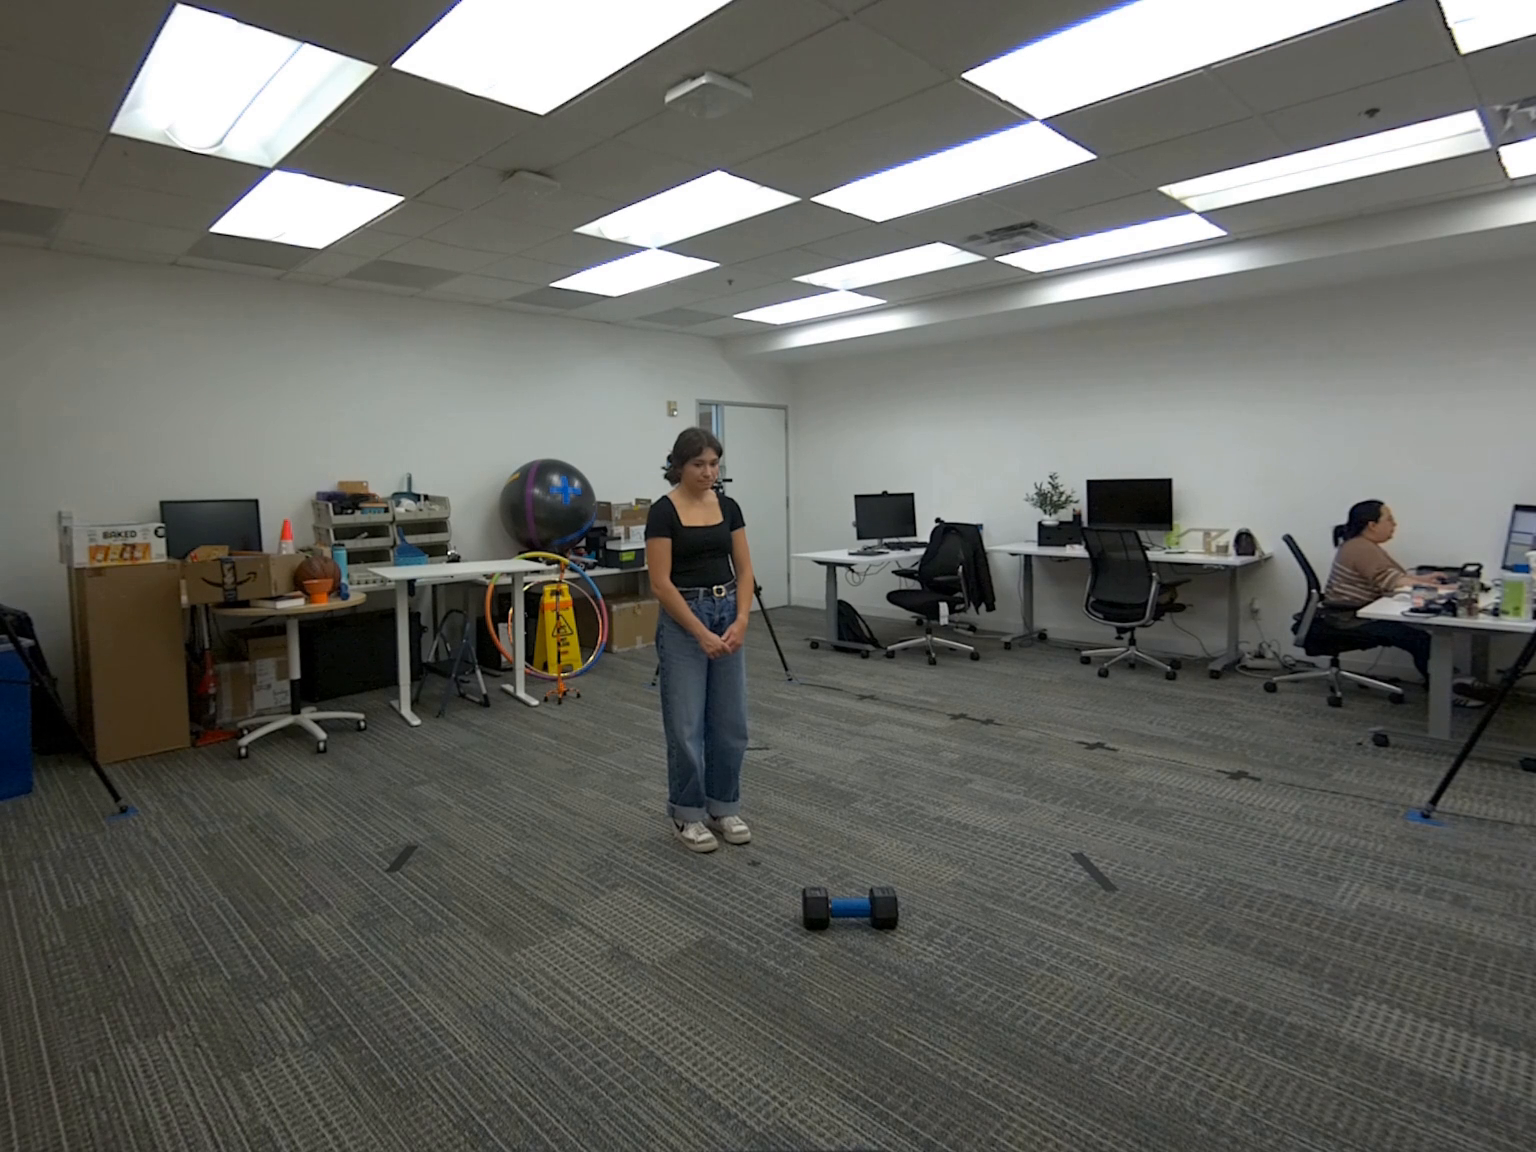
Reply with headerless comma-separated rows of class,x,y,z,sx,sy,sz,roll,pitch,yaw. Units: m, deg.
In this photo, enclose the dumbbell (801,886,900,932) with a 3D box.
dumbbell,0.260,1.038,2.667,0.294,0.126,0.106,-1,-26,1
